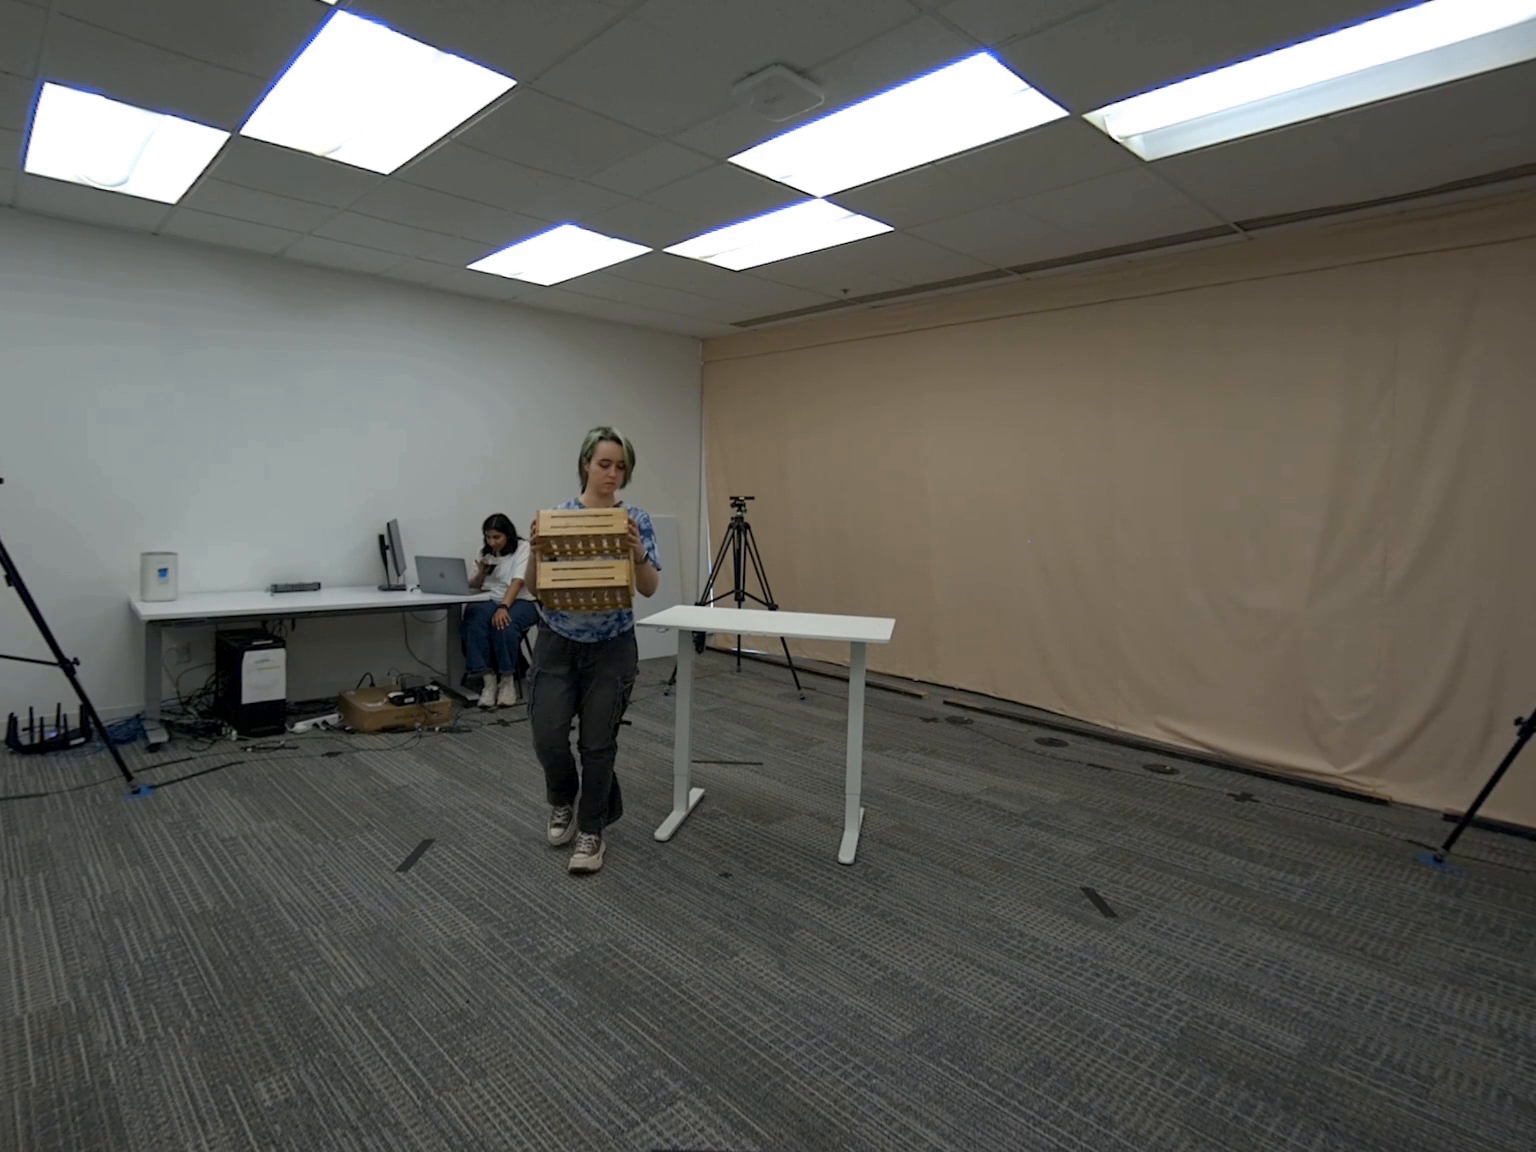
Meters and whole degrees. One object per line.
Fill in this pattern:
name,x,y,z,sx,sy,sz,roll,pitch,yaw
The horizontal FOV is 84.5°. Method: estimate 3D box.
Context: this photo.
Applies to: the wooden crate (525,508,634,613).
wooden crate,-0.639,-0.048,2.900,0.323,0.278,0.298,-2,-23,-4
